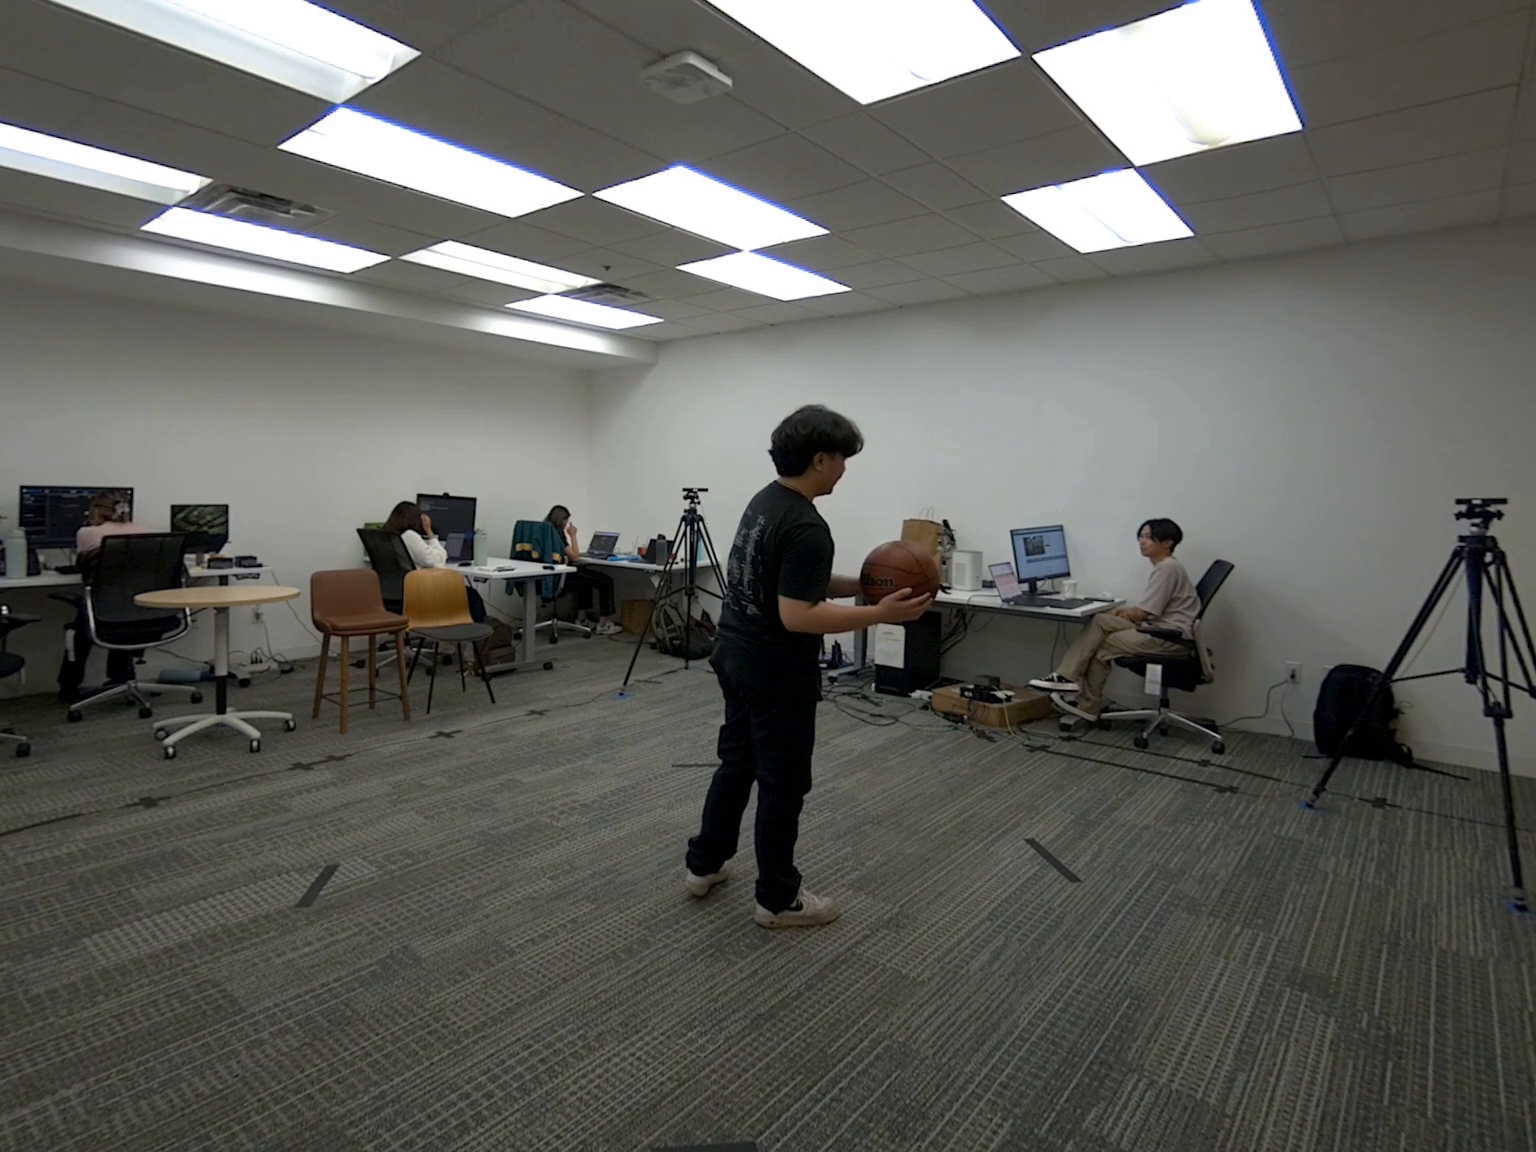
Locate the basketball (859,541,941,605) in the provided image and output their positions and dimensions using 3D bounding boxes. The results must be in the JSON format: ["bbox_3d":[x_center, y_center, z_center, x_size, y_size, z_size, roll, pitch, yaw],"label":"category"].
[{"bbox_3d":[0.394,0.005,2.585,0.235,0.235,0.237,1,4,-2],"label":"basketball"}]
